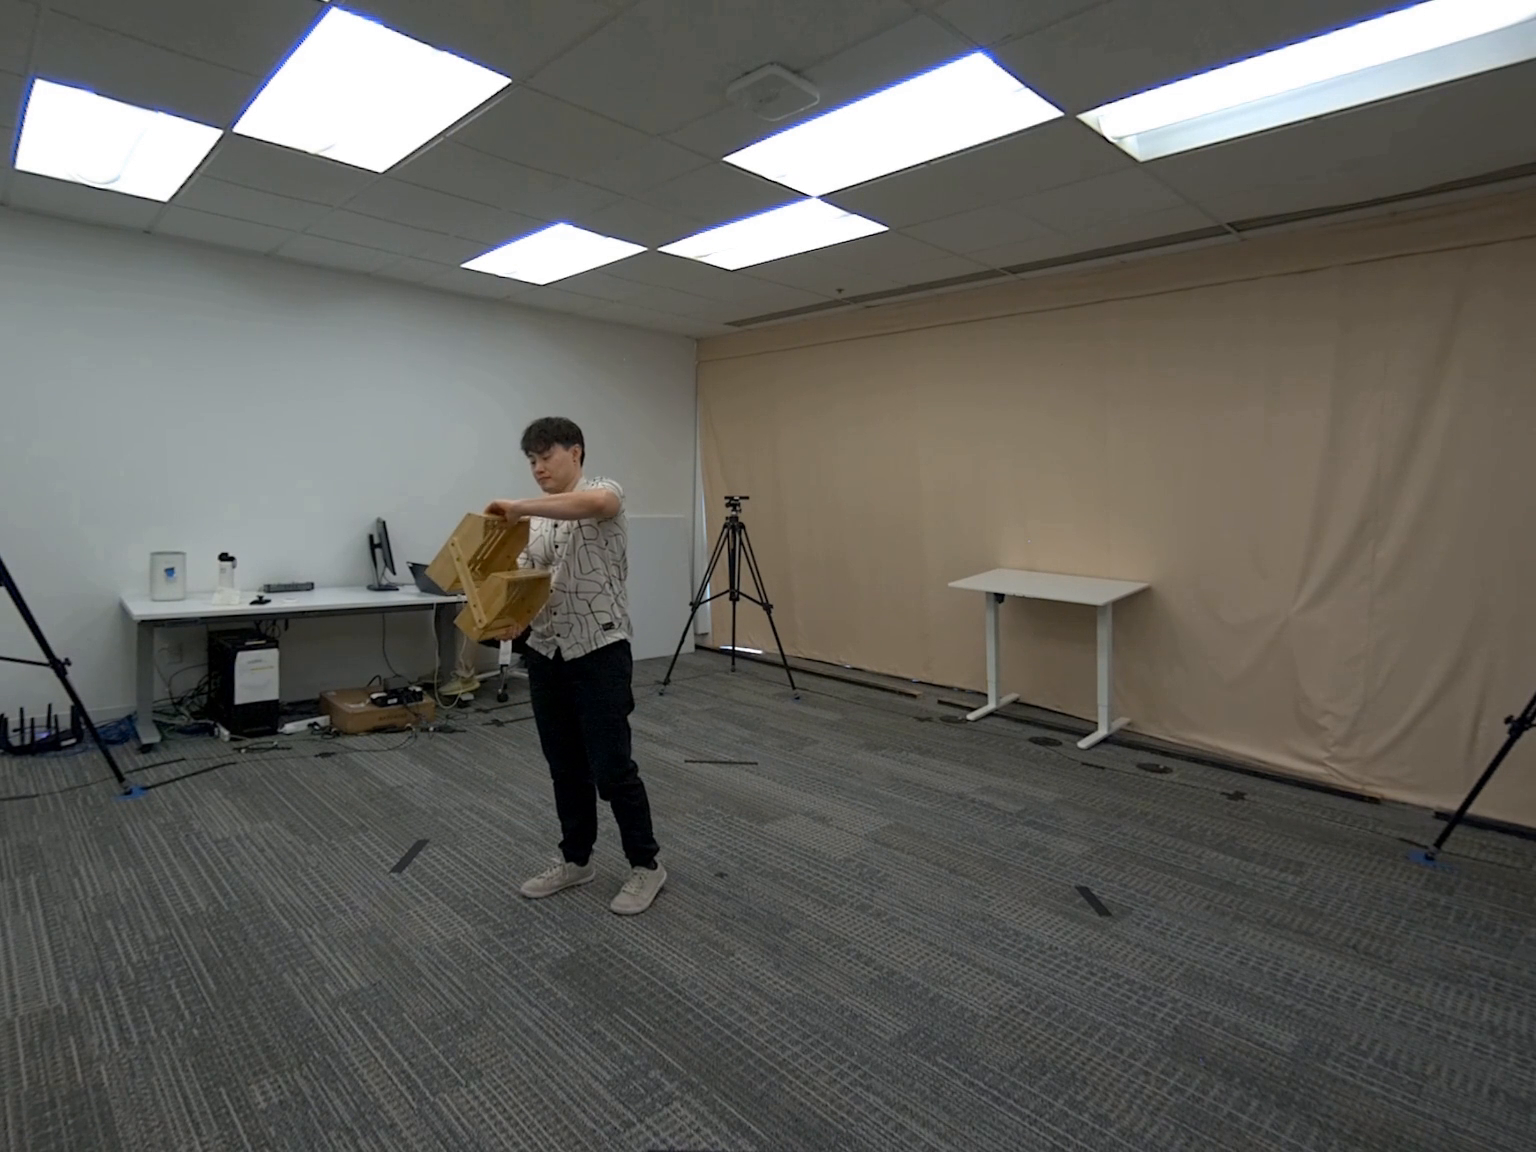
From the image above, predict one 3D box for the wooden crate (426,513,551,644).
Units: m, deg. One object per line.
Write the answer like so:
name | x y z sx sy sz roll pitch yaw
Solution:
wooden crate | -0.838 -0.010 2.591 0.275 0.302 0.322 40 8 6
